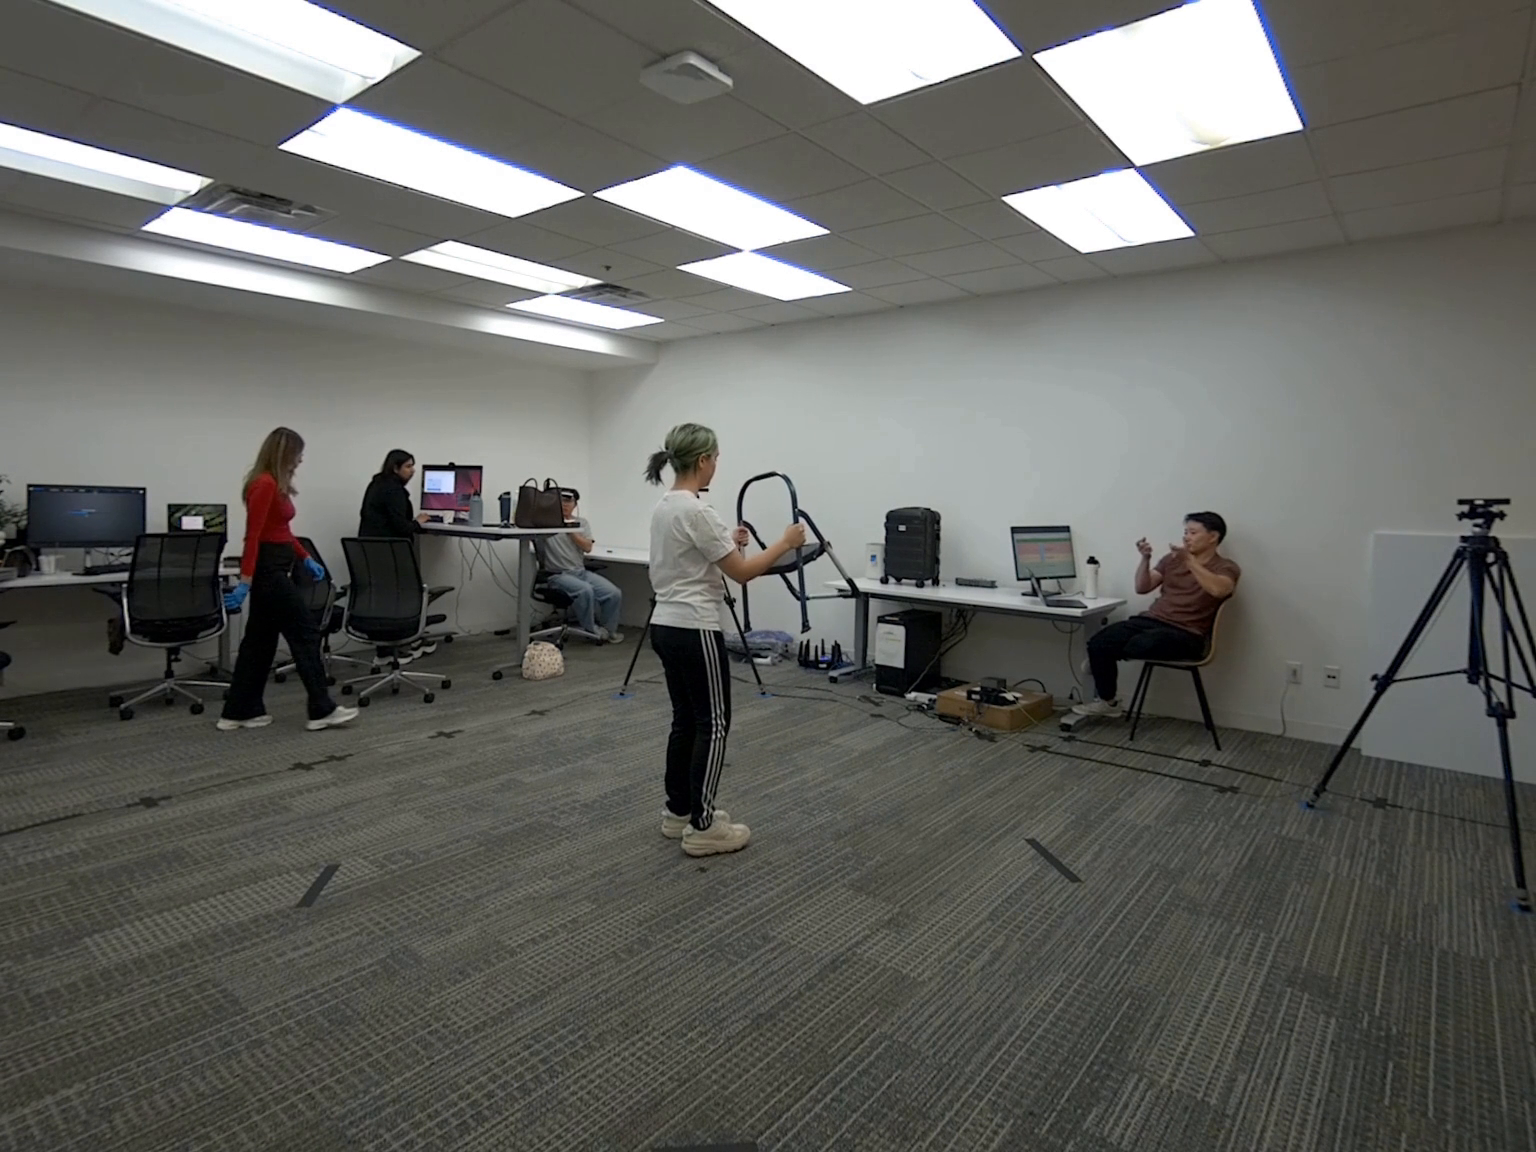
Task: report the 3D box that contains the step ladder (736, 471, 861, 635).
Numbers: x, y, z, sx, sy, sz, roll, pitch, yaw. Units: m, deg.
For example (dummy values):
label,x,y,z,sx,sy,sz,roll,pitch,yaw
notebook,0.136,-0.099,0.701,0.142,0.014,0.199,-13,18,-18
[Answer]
label,x,y,z,sx,sy,sz,roll,pitch,yaw
step ladder,0.028,-0.115,3.517,0.344,0.600,0.442,-27,11,-35
